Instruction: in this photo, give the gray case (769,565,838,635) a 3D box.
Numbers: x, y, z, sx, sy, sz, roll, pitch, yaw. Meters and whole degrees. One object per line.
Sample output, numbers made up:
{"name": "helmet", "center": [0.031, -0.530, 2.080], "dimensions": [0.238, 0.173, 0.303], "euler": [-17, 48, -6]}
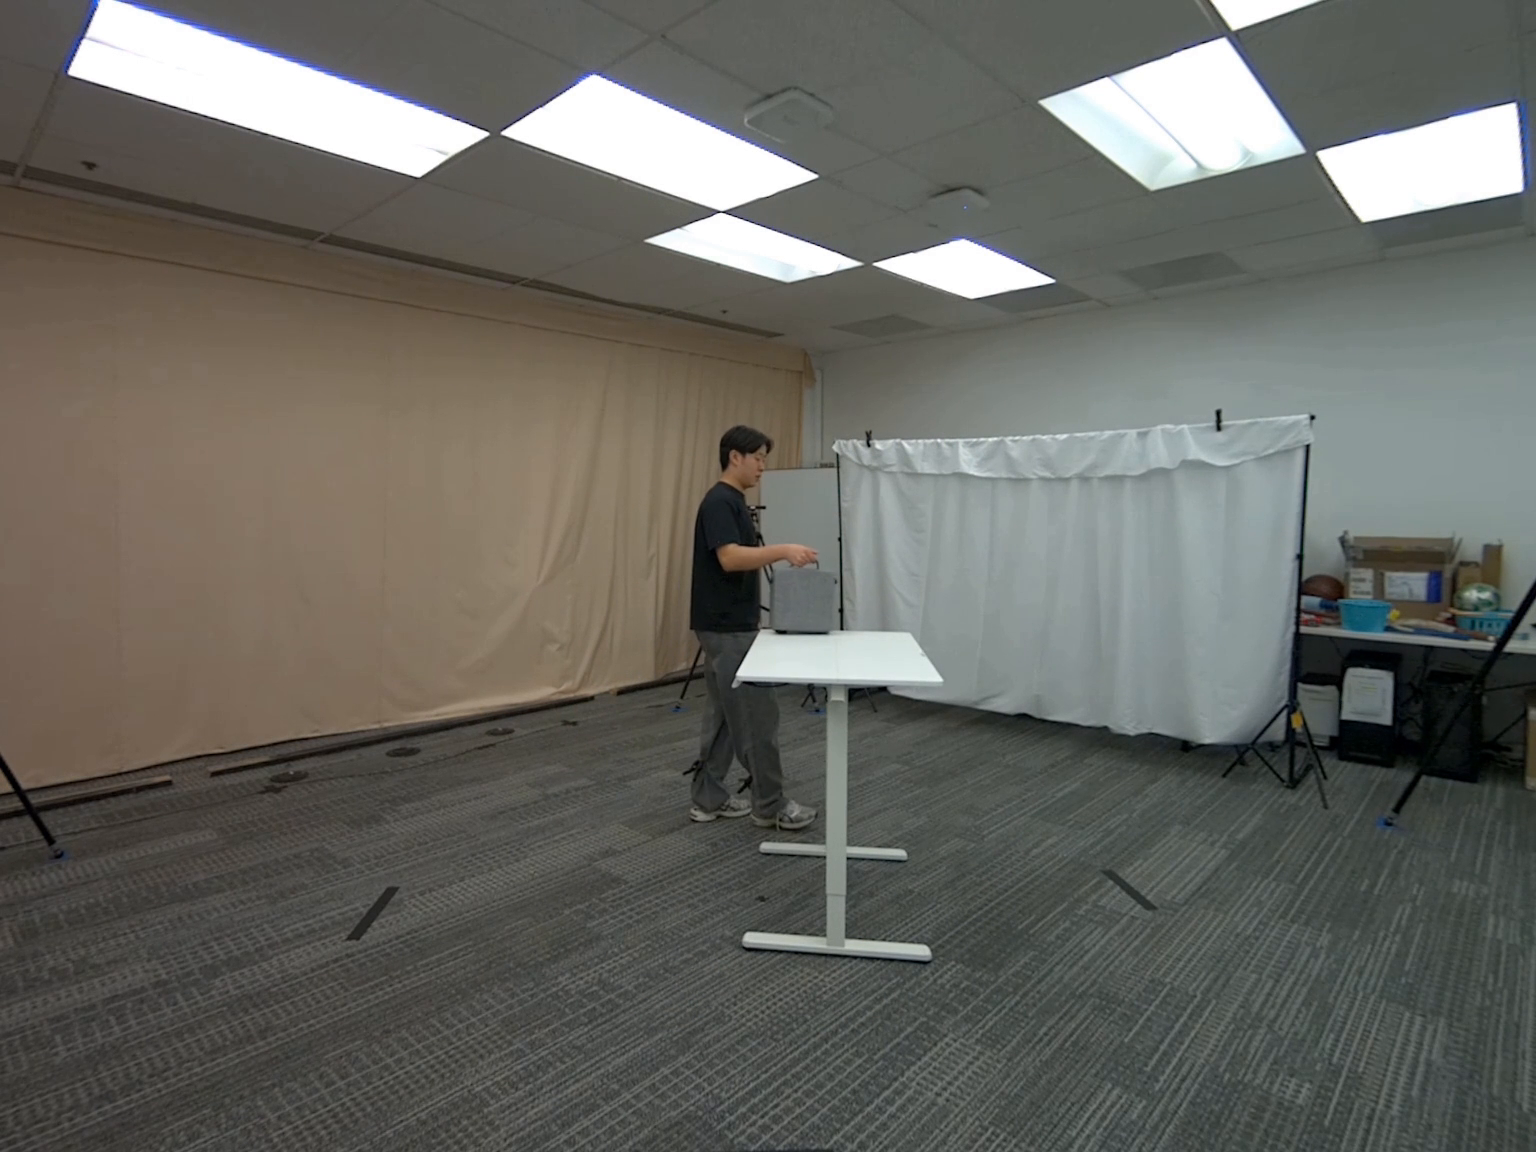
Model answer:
{"name": "gray case", "center": [0.146, 0.084, 3.362], "dimensions": [0.261, 0.288, 0.103], "euler": [2, -4, -6]}
